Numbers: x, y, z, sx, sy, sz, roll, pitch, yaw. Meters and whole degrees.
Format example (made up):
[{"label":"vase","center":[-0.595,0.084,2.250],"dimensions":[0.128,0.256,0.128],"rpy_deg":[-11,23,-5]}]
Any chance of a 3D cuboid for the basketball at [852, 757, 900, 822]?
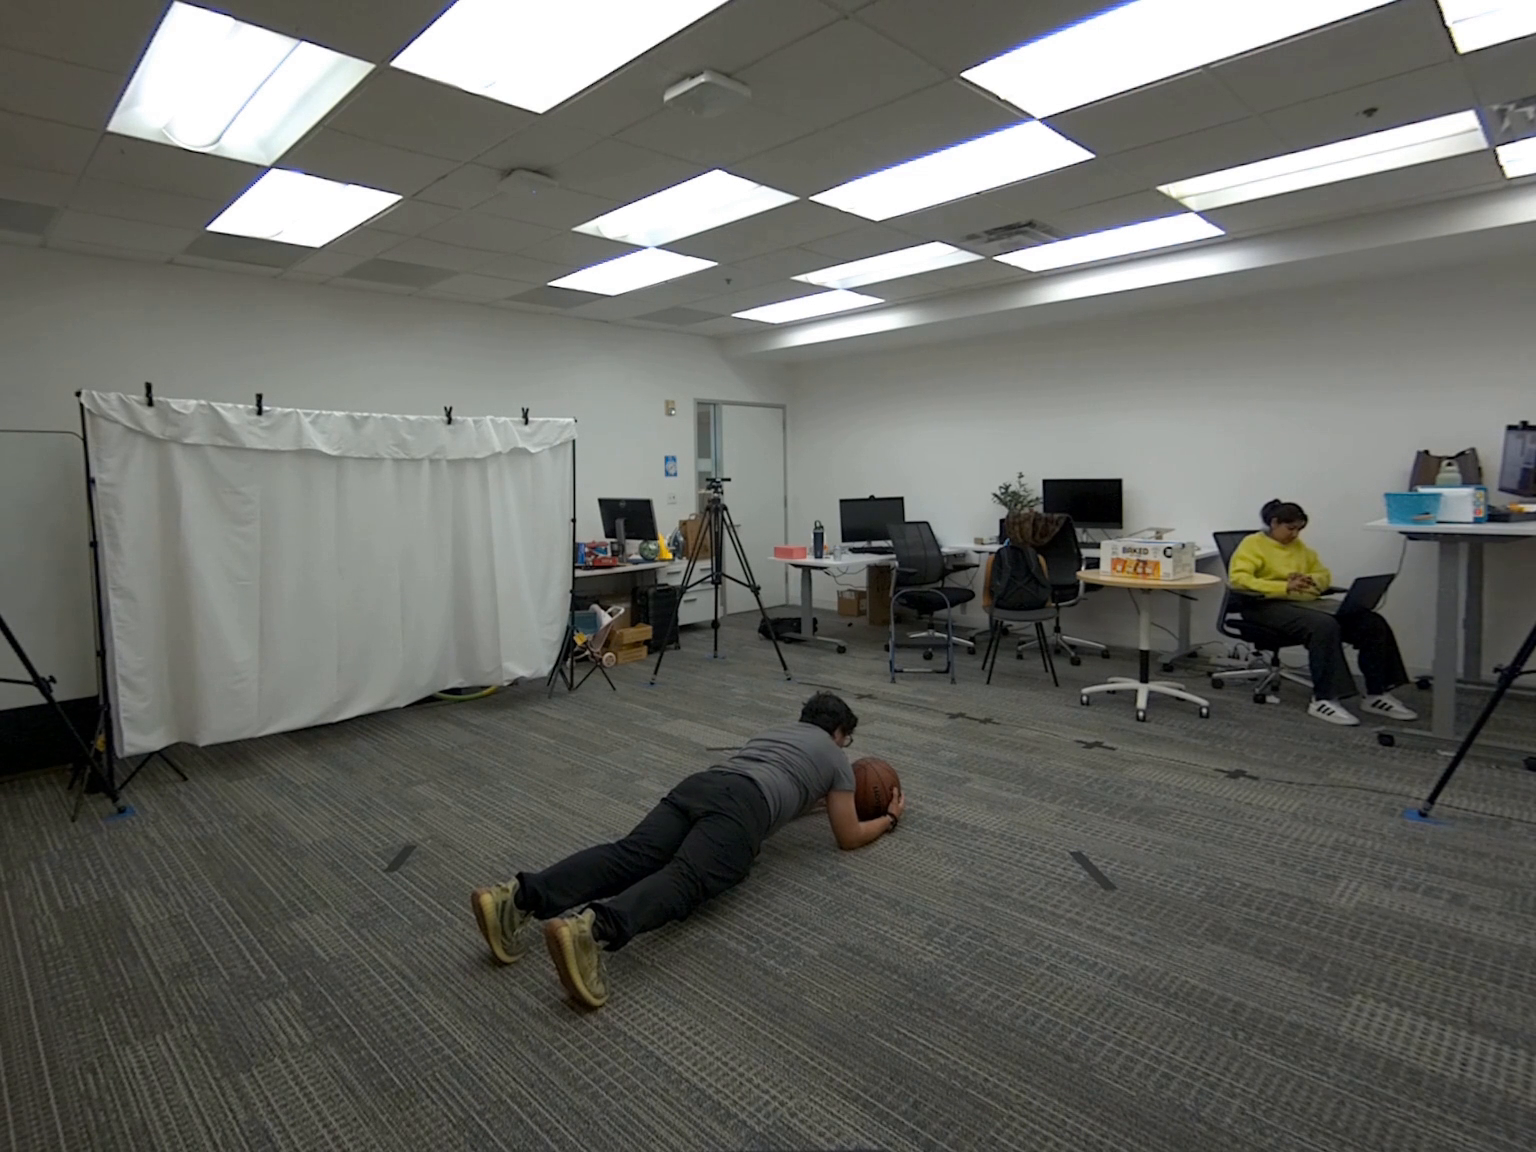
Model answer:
[{"label":"basketball","center":[0.417,0.863,3.505],"dimensions":[0.236,0.235,0.237],"rpy_deg":[-1,5,-2]}]
